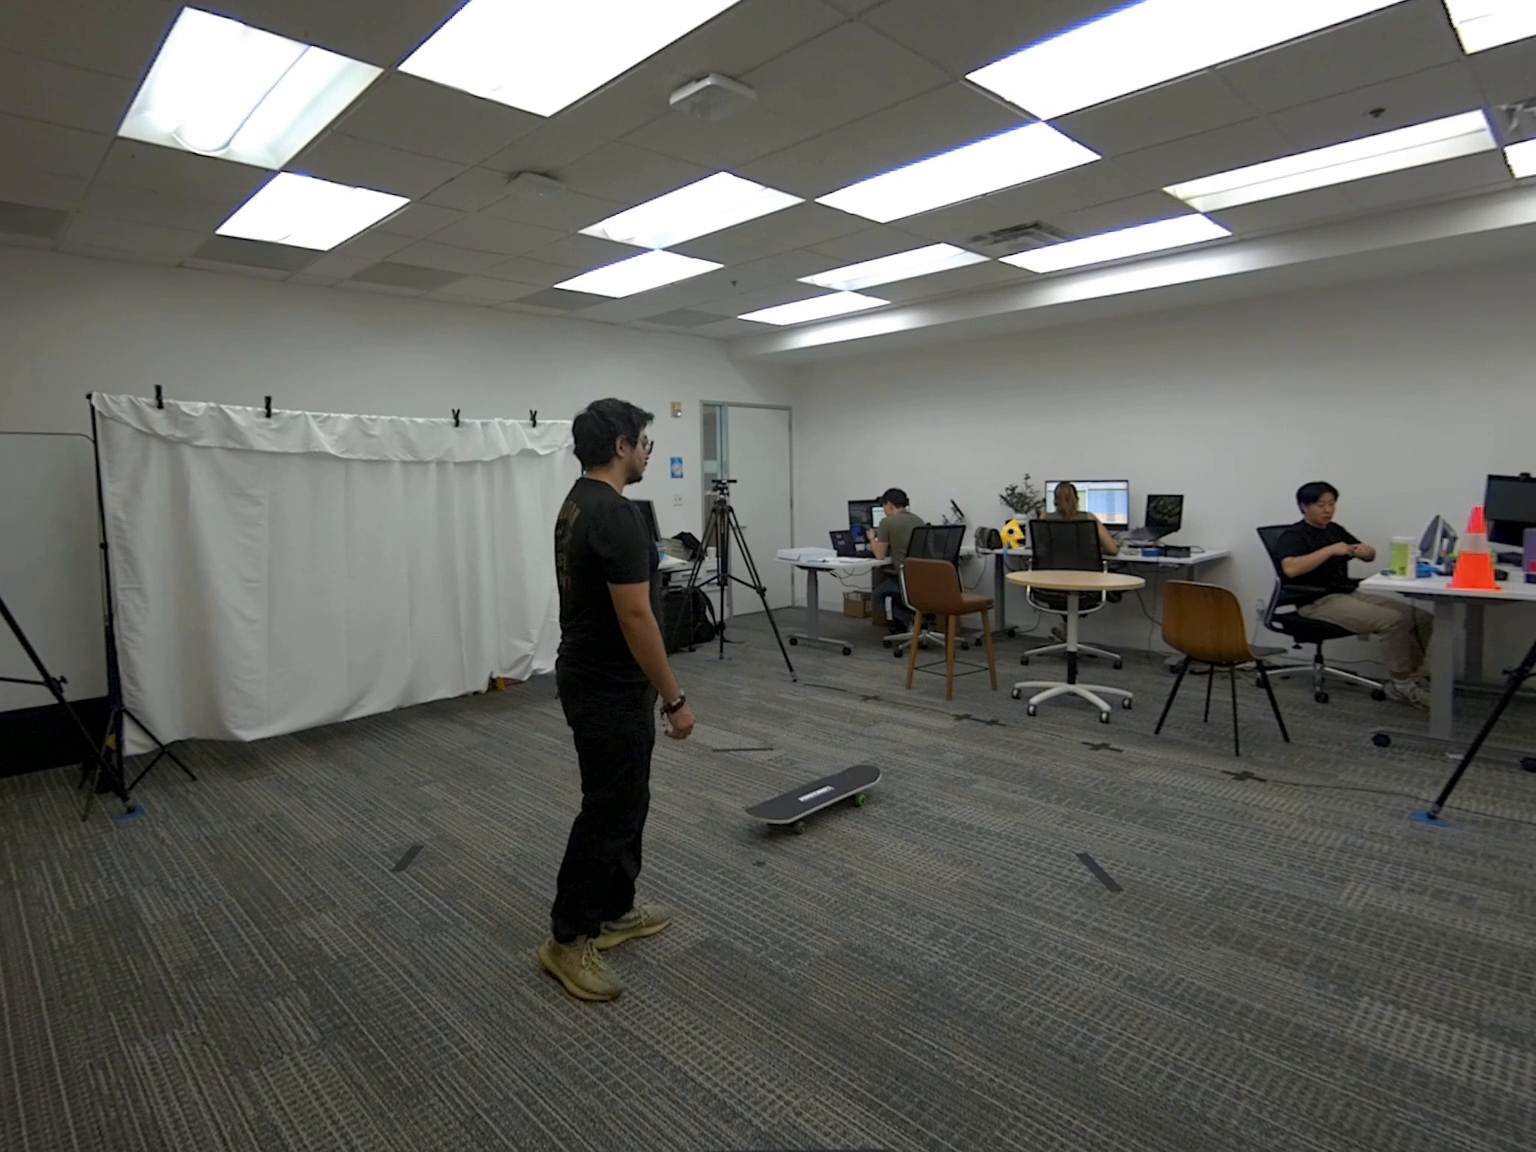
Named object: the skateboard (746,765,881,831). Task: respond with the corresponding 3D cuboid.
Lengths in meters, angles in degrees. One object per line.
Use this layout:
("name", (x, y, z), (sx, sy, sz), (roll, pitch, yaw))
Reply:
("skateboard", (0.203, 0.935, 3.555), (0.199, 0.110, 0.765), (5, 9, 44))
